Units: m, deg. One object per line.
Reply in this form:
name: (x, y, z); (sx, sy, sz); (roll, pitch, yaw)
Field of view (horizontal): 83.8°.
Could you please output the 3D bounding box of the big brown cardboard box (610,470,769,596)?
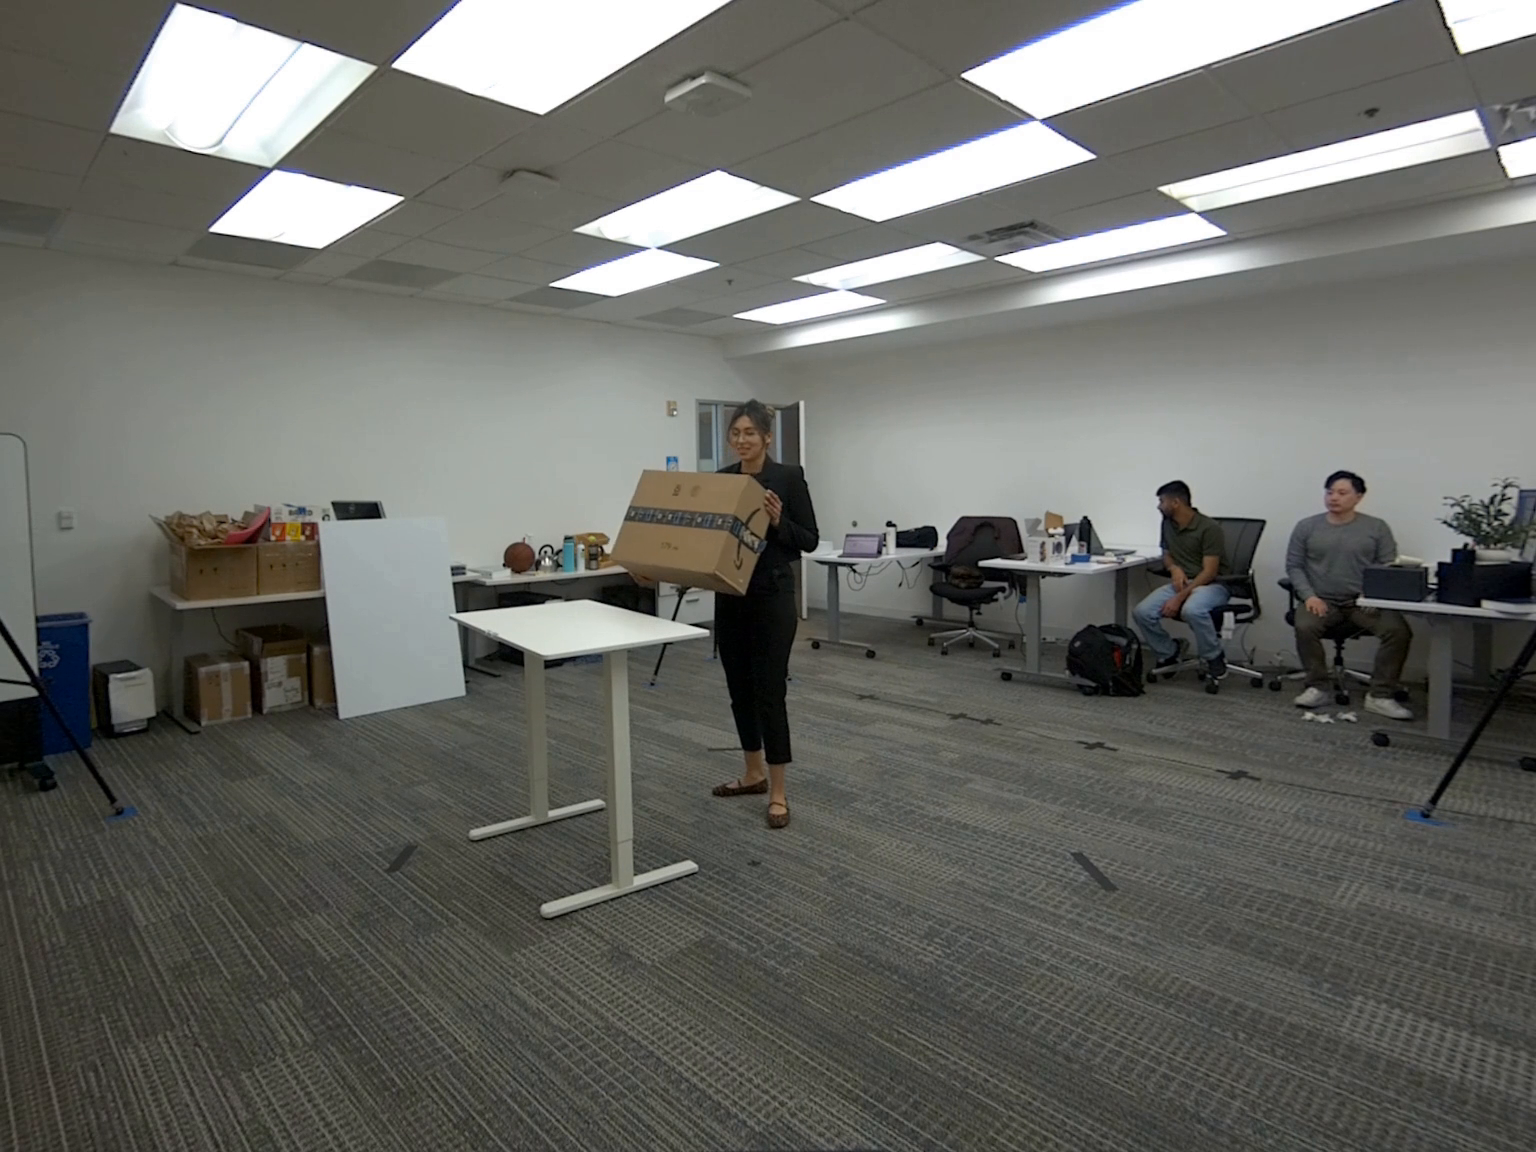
big brown cardboard box: (-0.300, -0.186, 3.440); (0.607, 0.421, 0.224); (8, -19, 36)
